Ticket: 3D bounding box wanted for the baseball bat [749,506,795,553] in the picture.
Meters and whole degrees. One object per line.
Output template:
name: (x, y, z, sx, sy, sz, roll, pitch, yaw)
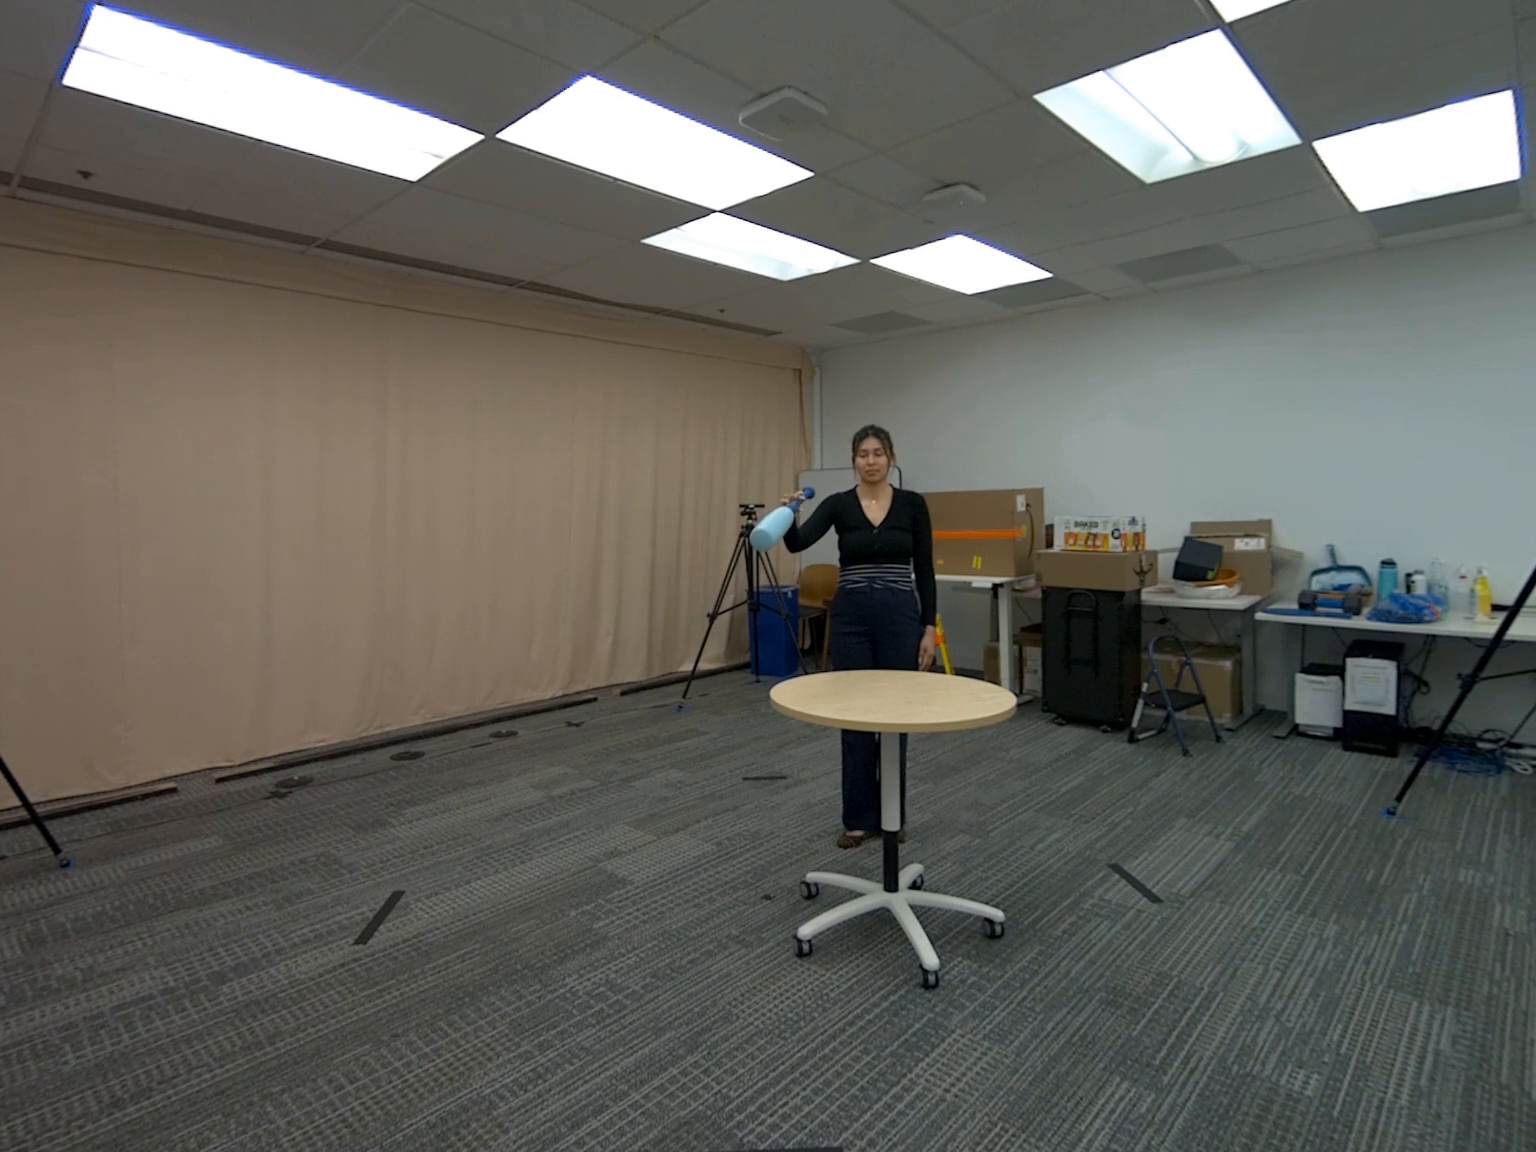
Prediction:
baseball bat: (0.062, -0.218, 2.945, 0.091, 0.088, 0.540, 0, 22, 18)
